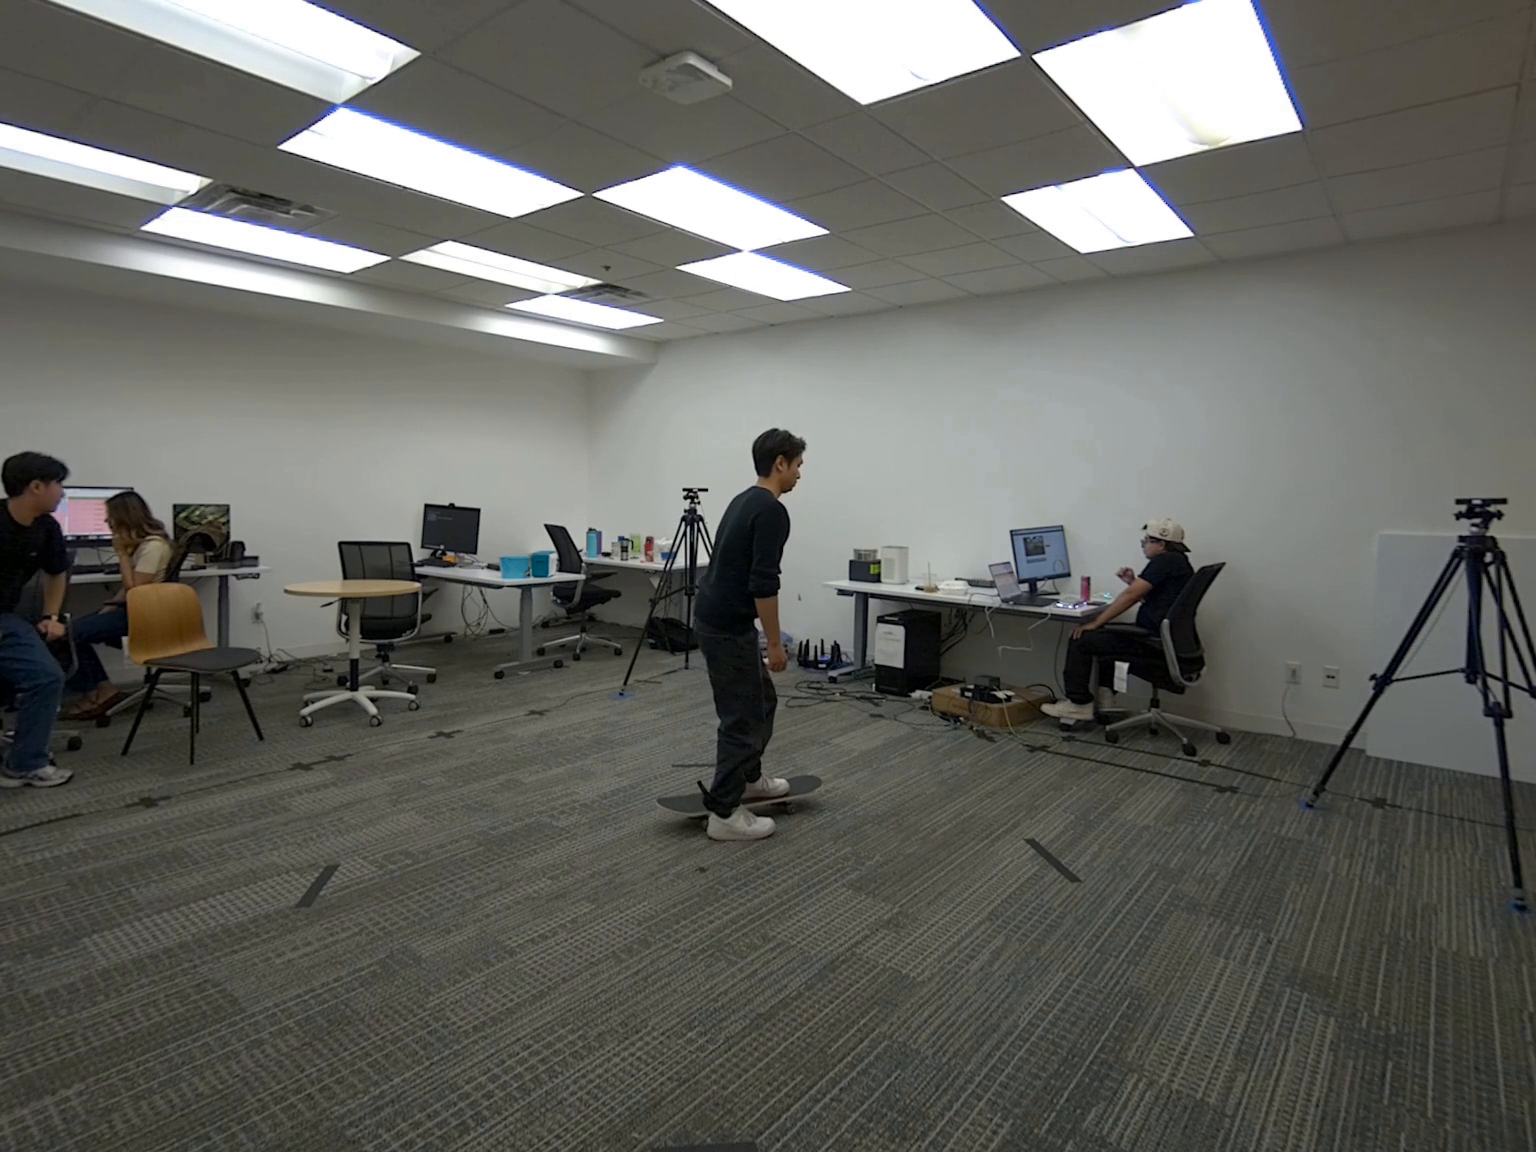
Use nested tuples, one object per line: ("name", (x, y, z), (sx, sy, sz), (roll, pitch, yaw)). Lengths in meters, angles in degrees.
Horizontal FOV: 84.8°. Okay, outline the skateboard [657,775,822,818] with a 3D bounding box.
("skateboard", (-0.118, 0.963, 3.638), (0.766, 0.110, 0.199), (-3, 6, -27))
